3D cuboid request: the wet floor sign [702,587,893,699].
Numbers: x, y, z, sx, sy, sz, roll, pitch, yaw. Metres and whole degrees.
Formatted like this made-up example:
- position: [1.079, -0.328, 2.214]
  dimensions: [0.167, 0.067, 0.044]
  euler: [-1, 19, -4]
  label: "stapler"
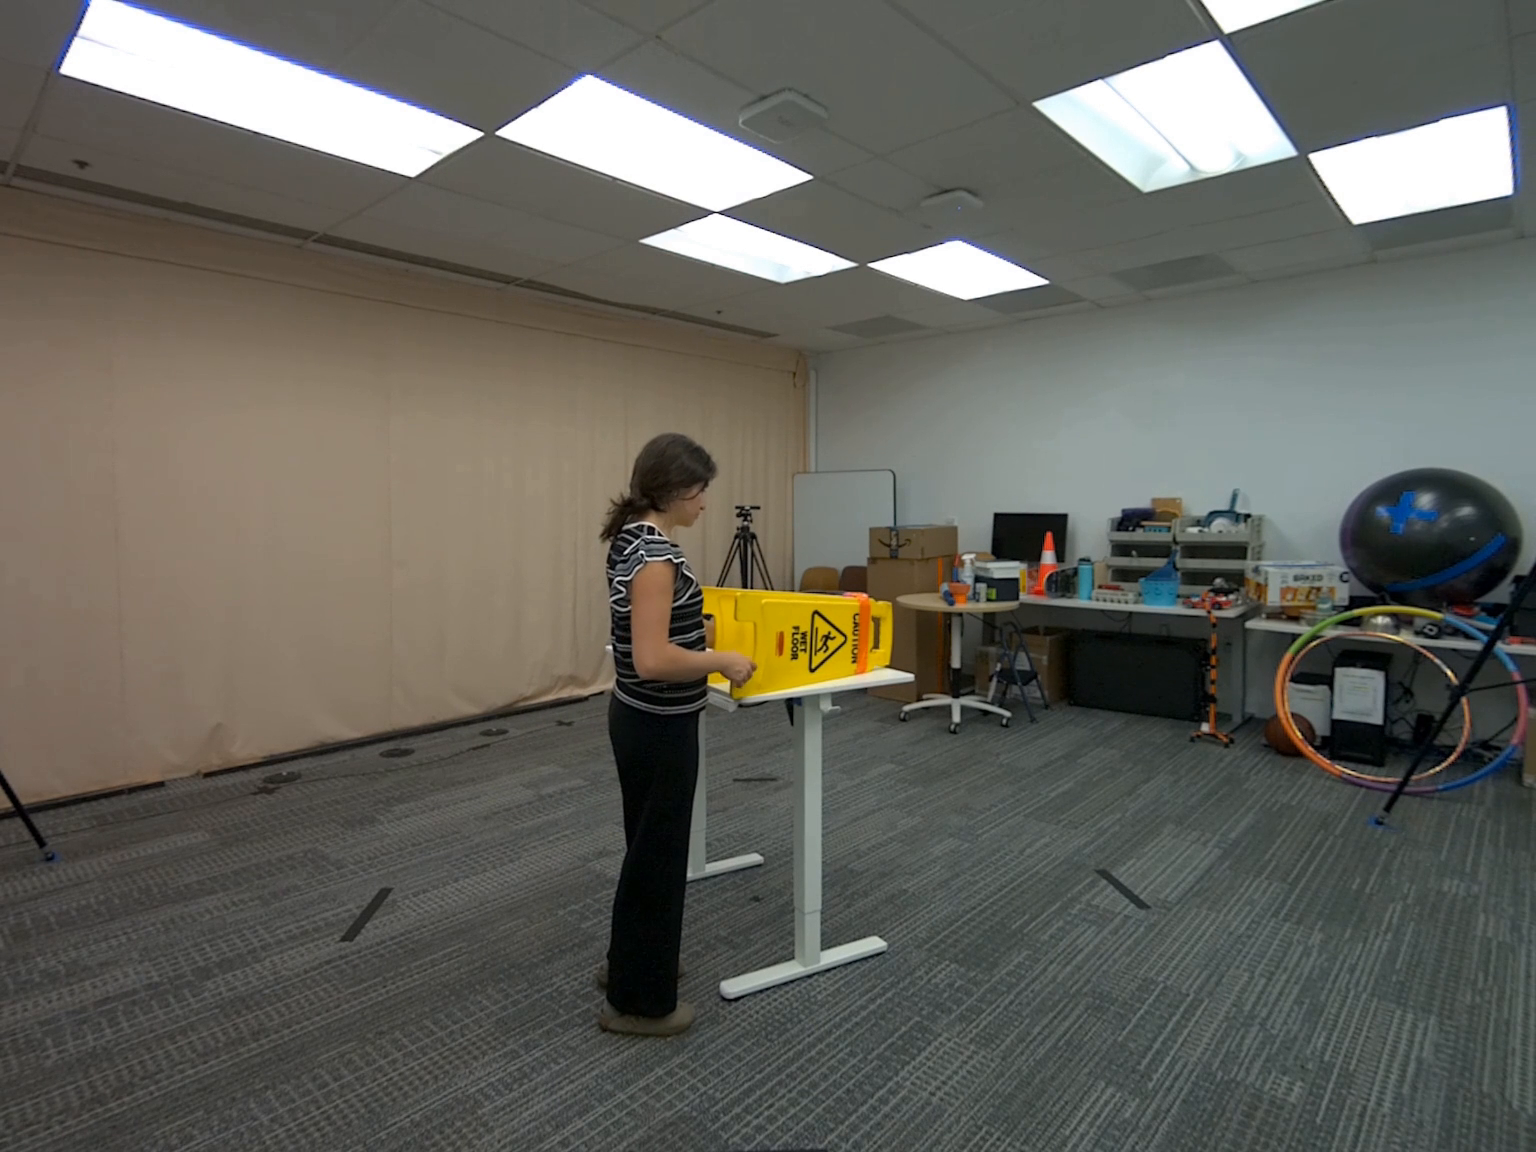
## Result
- position: [0.119, 0.180, 2.463]
  dimensions: [0.627, 0.282, 0.299]
  euler: [1, 4, -32]
  label: "wet floor sign"
